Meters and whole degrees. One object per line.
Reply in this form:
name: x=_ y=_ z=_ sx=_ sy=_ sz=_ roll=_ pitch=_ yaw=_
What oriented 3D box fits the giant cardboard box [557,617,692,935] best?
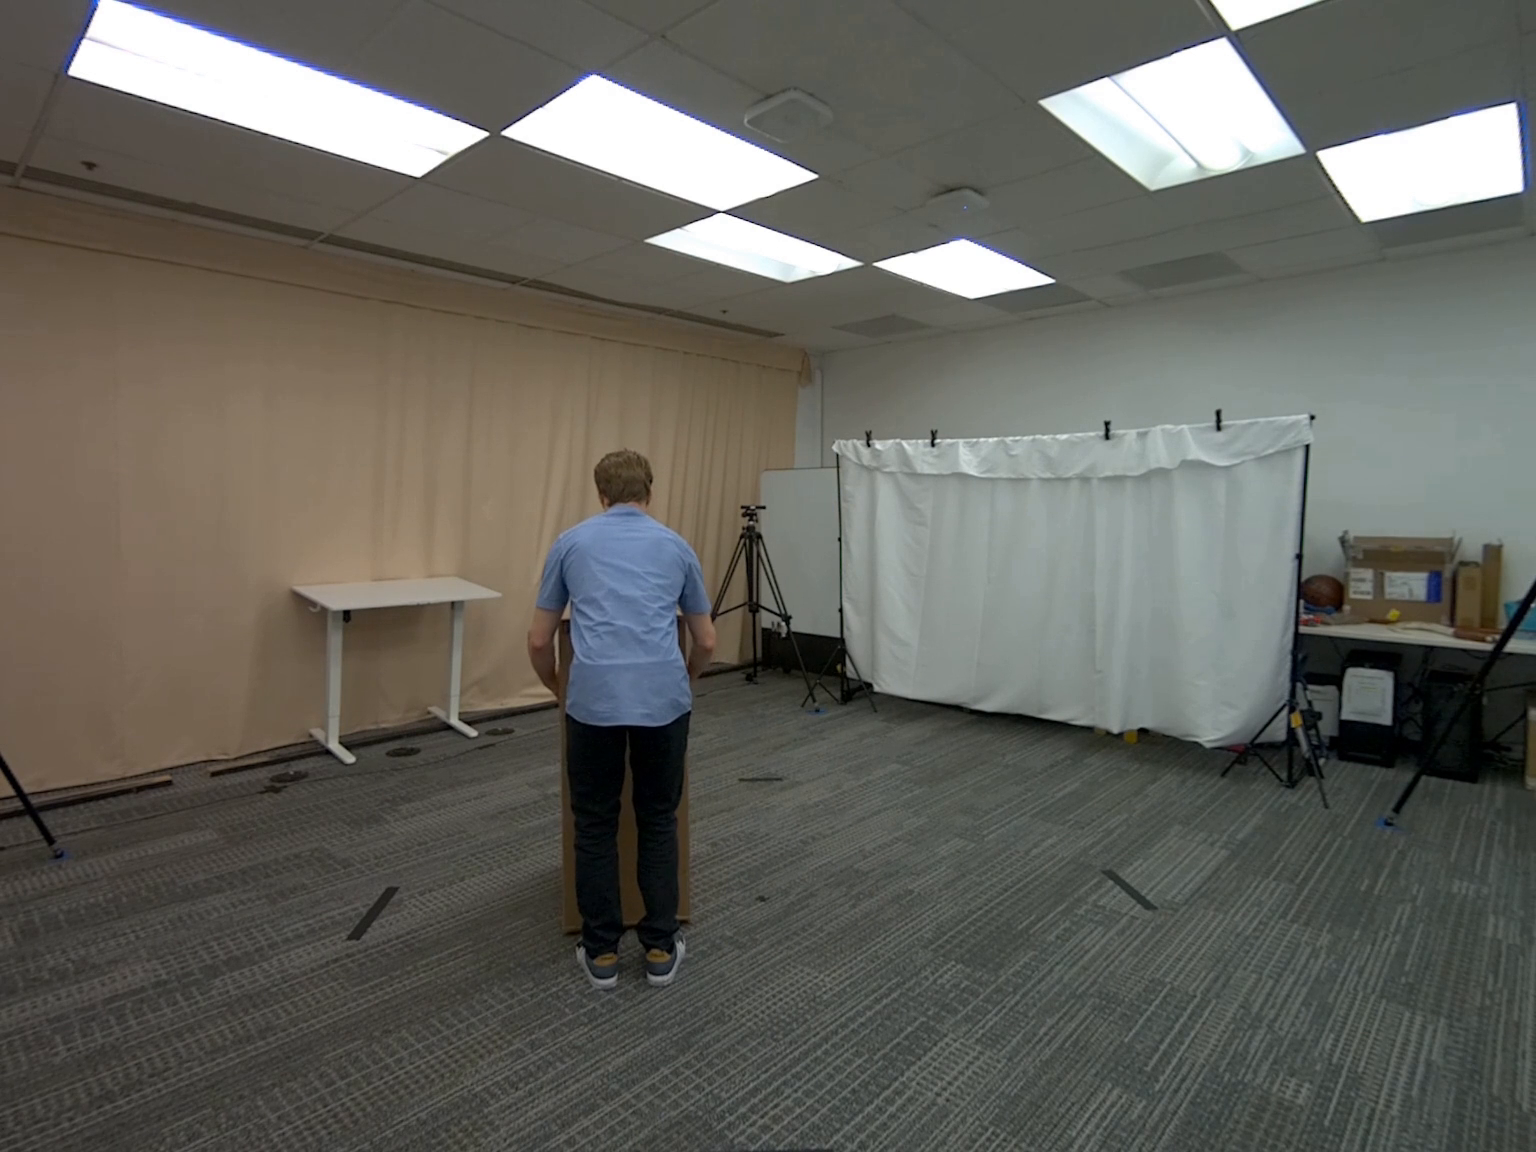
giant cardboard box: x=-0.527 y=0.630 z=3.035 sx=0.442 sy=1.027 sz=0.590 roll=-1 pitch=1 yaw=-11
